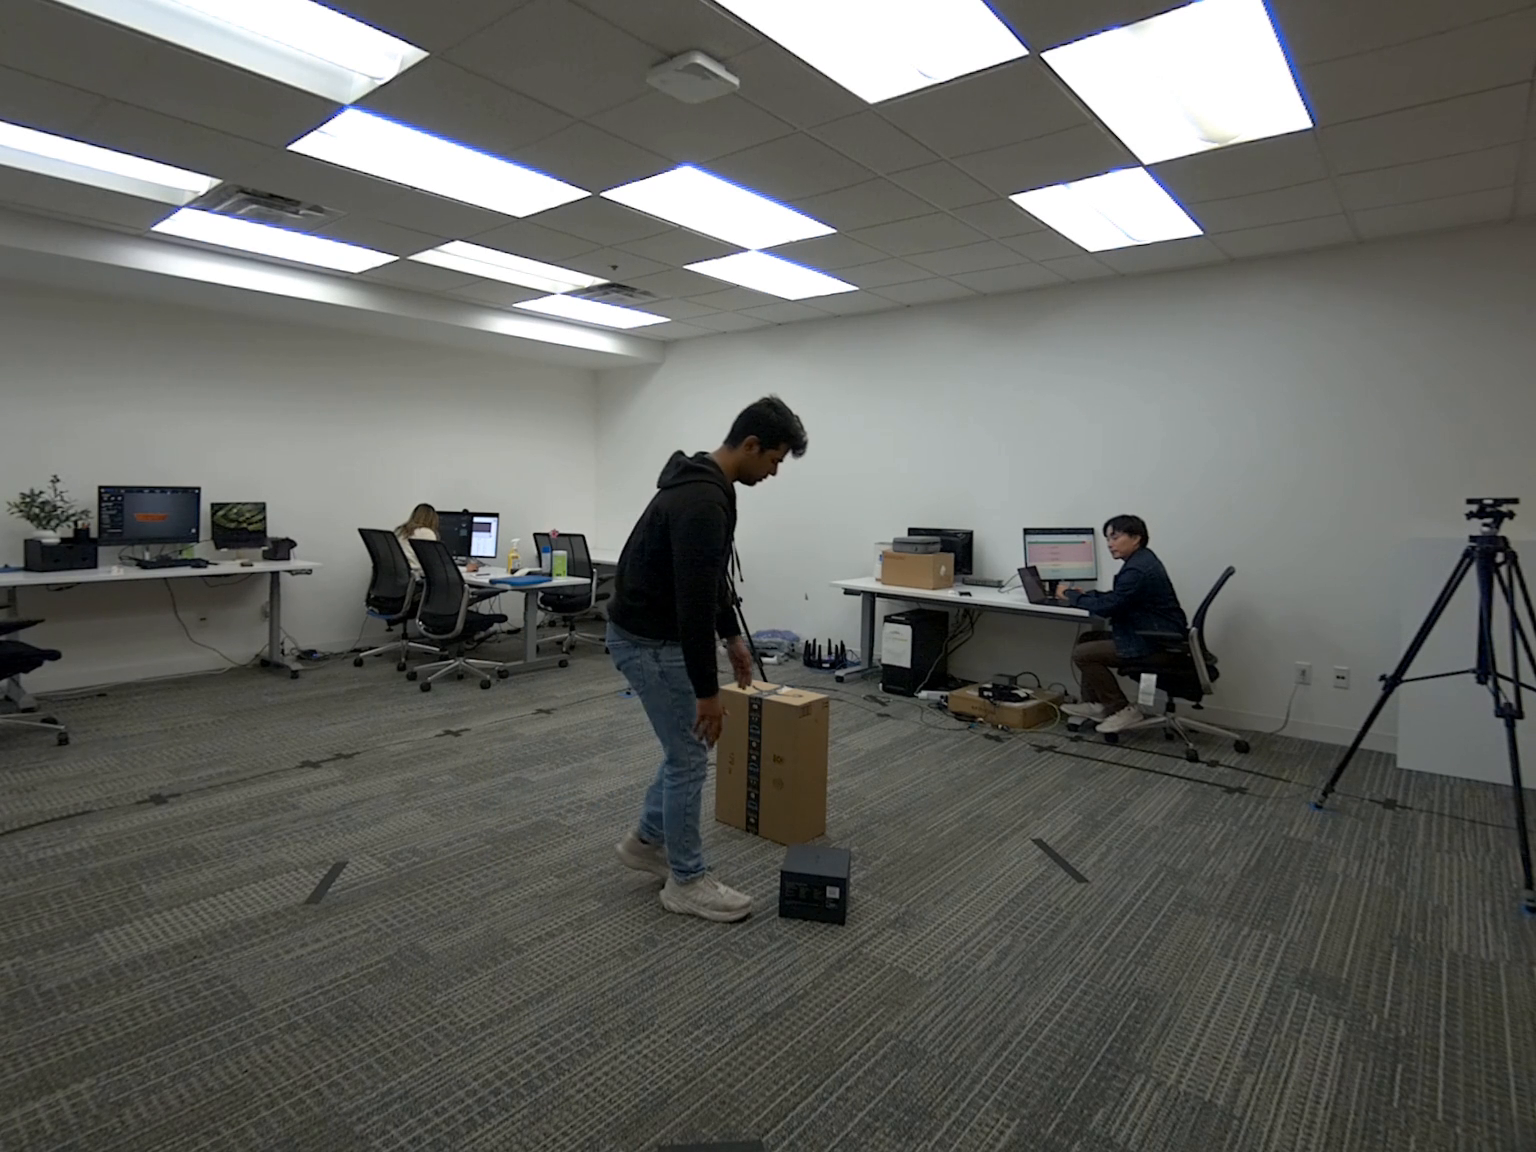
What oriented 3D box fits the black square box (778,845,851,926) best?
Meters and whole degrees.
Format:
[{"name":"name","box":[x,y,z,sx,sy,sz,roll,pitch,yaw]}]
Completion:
[{"name":"black square box","box":[0.163,1.018,2.840,0.219,0.155,0.226,2,6,10]}]
